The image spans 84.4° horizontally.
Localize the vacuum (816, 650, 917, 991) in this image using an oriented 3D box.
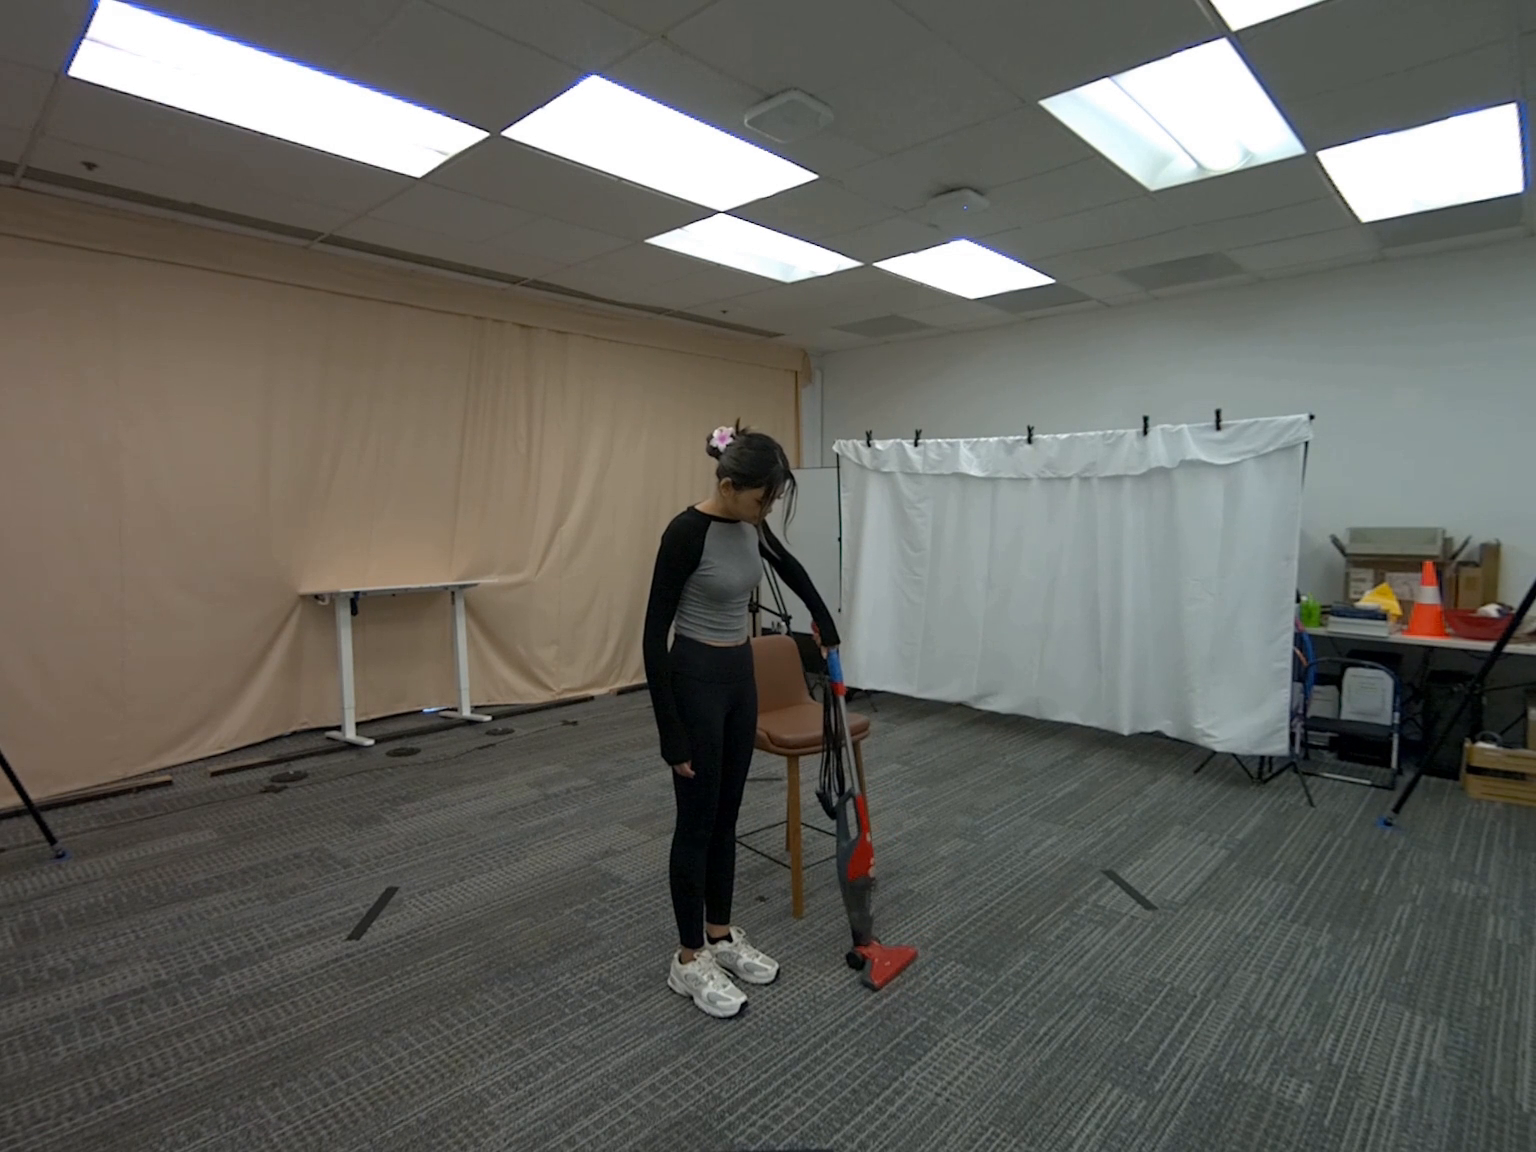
[{"bbox_3d":[0.248,0.669,2.598,0.148,1.054,0.245,-15,-7,37],"label":"vacuum"}]
